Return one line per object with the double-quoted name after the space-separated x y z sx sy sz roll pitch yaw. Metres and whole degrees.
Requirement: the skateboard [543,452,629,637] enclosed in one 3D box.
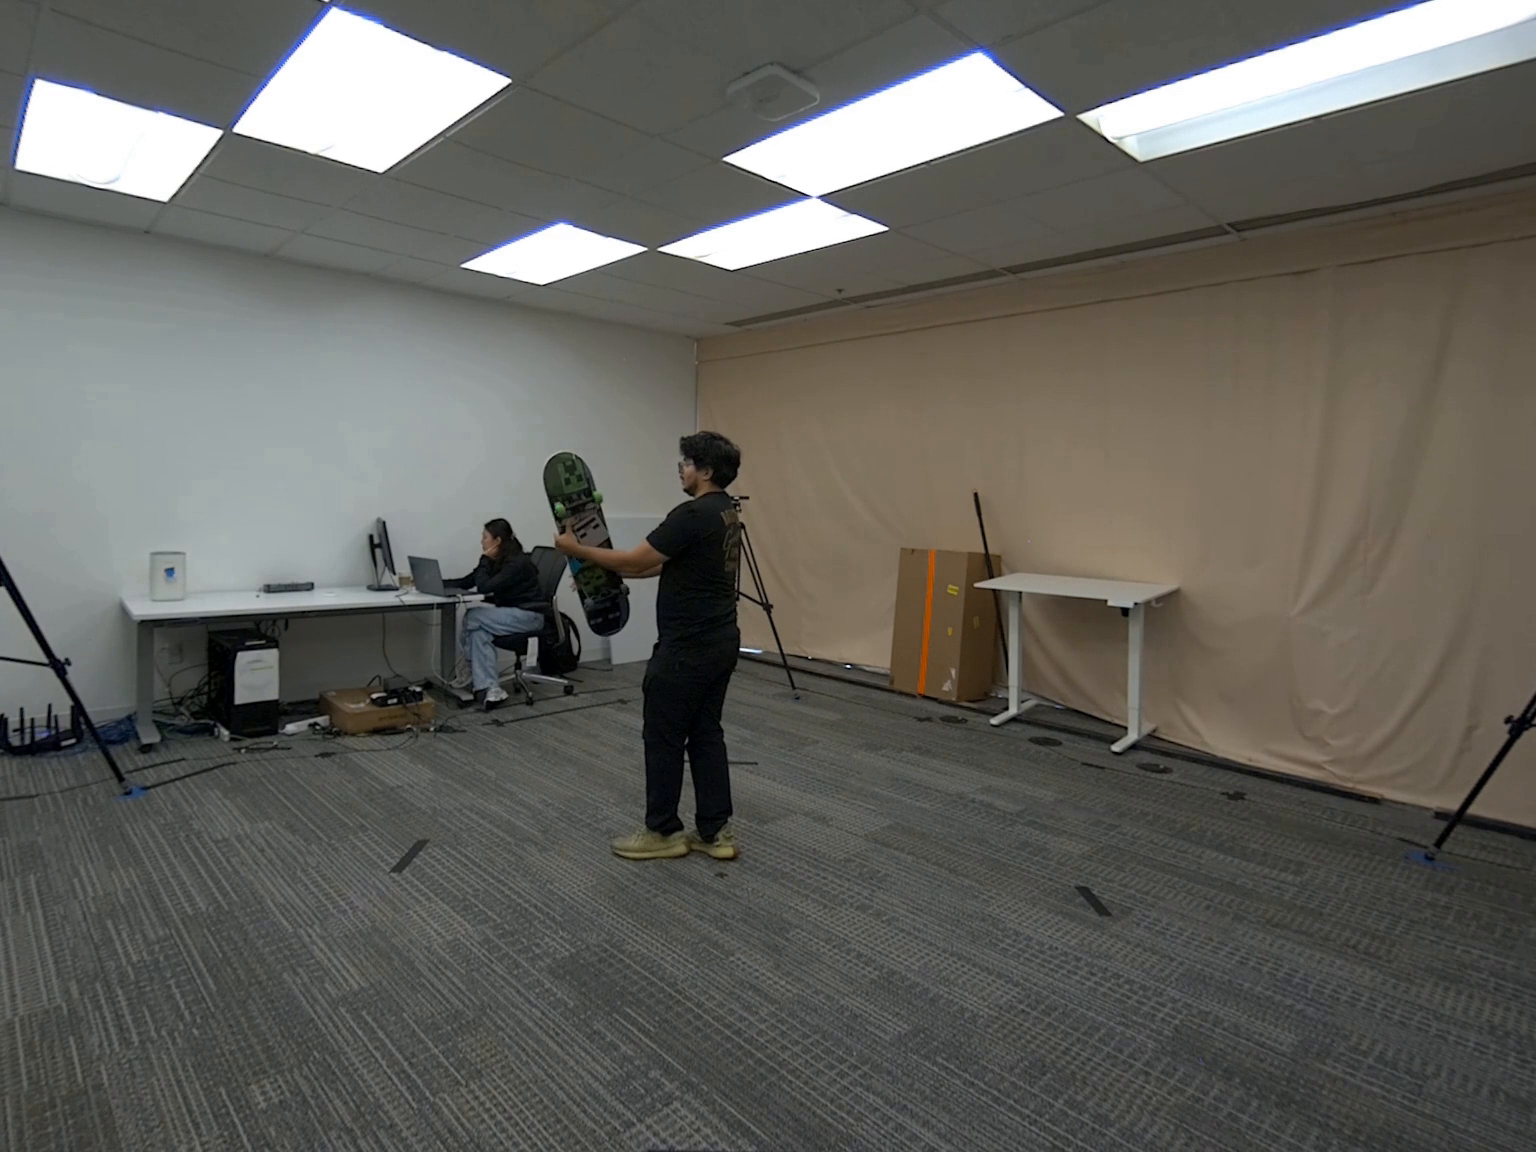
-0.698 -0.098 3.284 0.191 0.772 0.113 -21 21 -22 "skateboard"
